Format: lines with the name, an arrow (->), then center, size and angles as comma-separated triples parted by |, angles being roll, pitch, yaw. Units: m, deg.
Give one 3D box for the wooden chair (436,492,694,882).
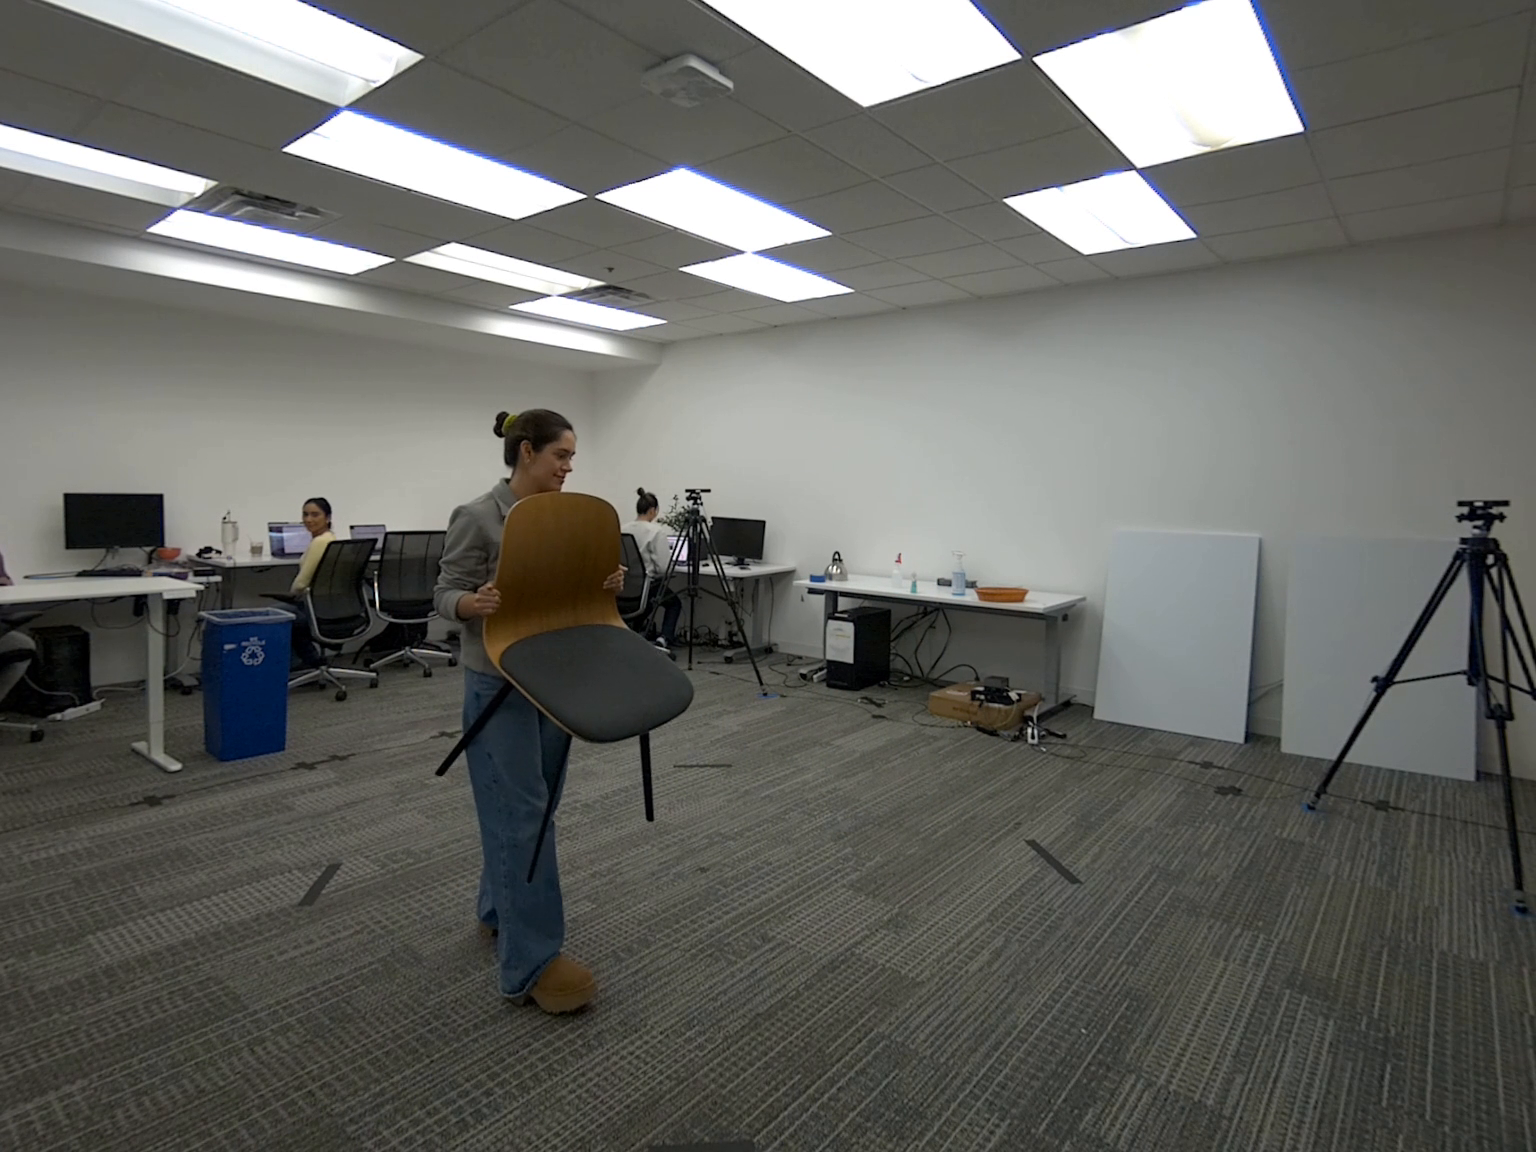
wooden chair -> -0.493, 0.274, 2.286 | 0.543, 0.867, 0.465 | 29, 22, 33
